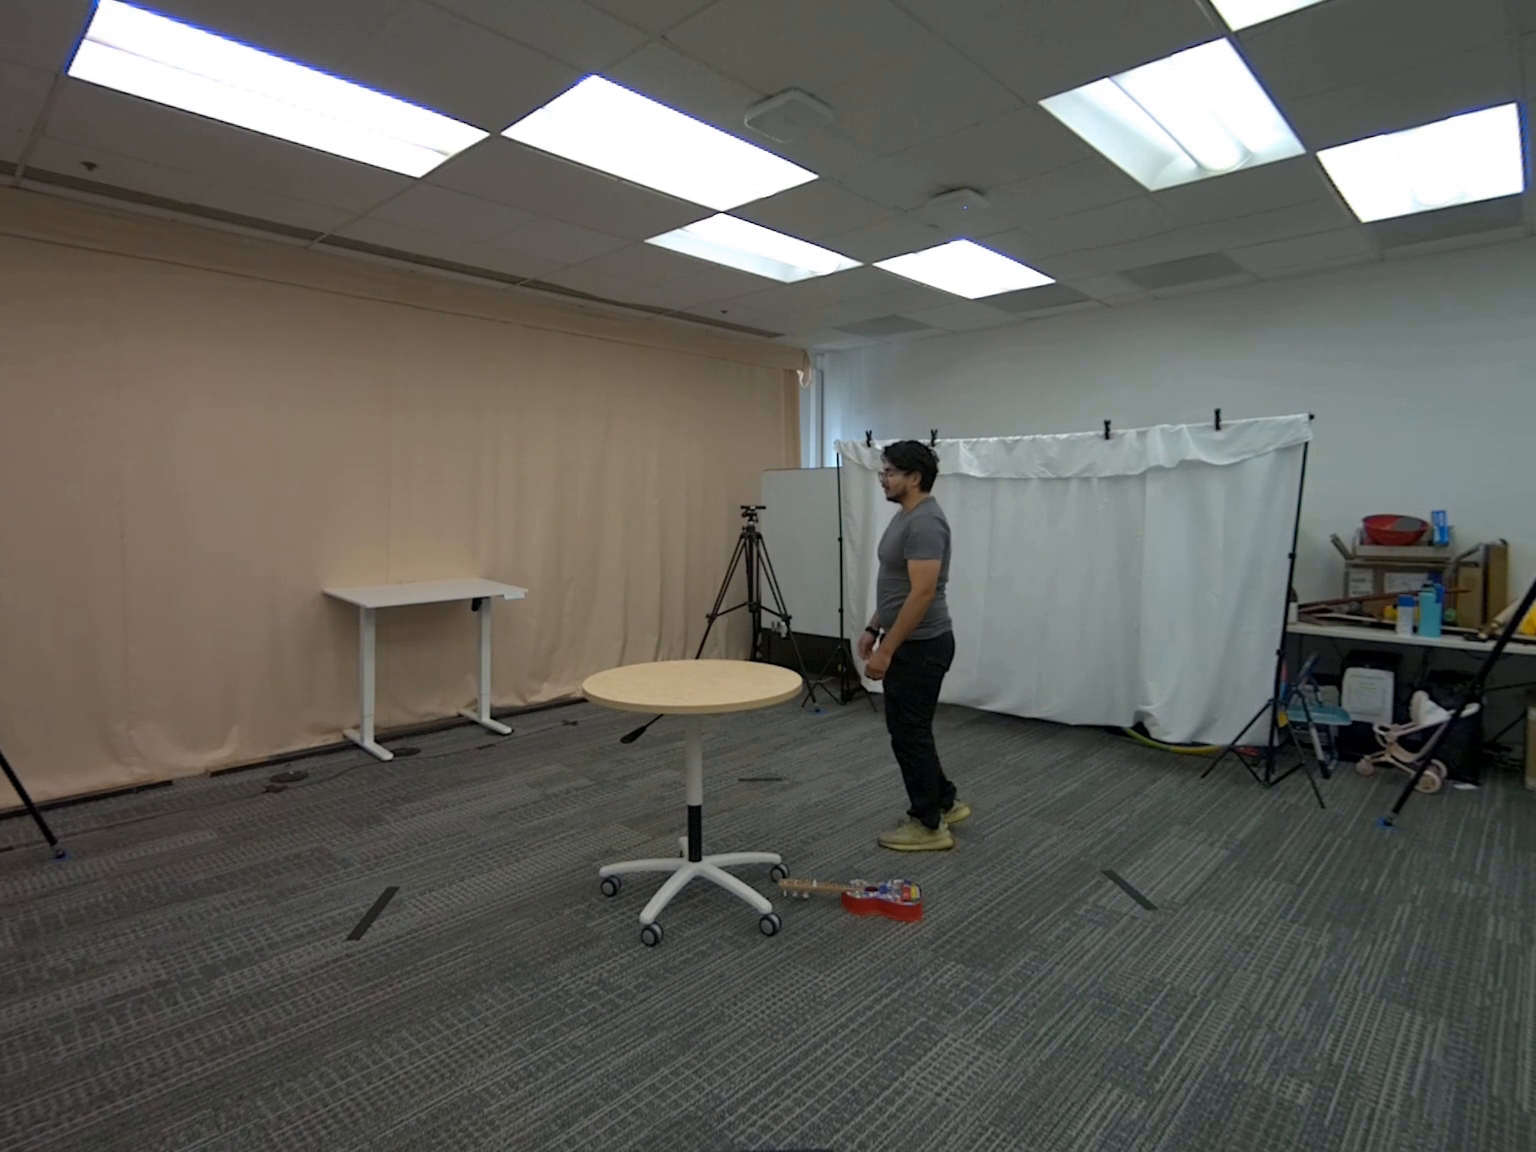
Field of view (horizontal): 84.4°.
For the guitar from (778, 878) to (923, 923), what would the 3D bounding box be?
[{"bbox_3d":[0.290,1.104,2.963,0.507,0.070,0.190,2,6,18],"label":"guitar"}]
